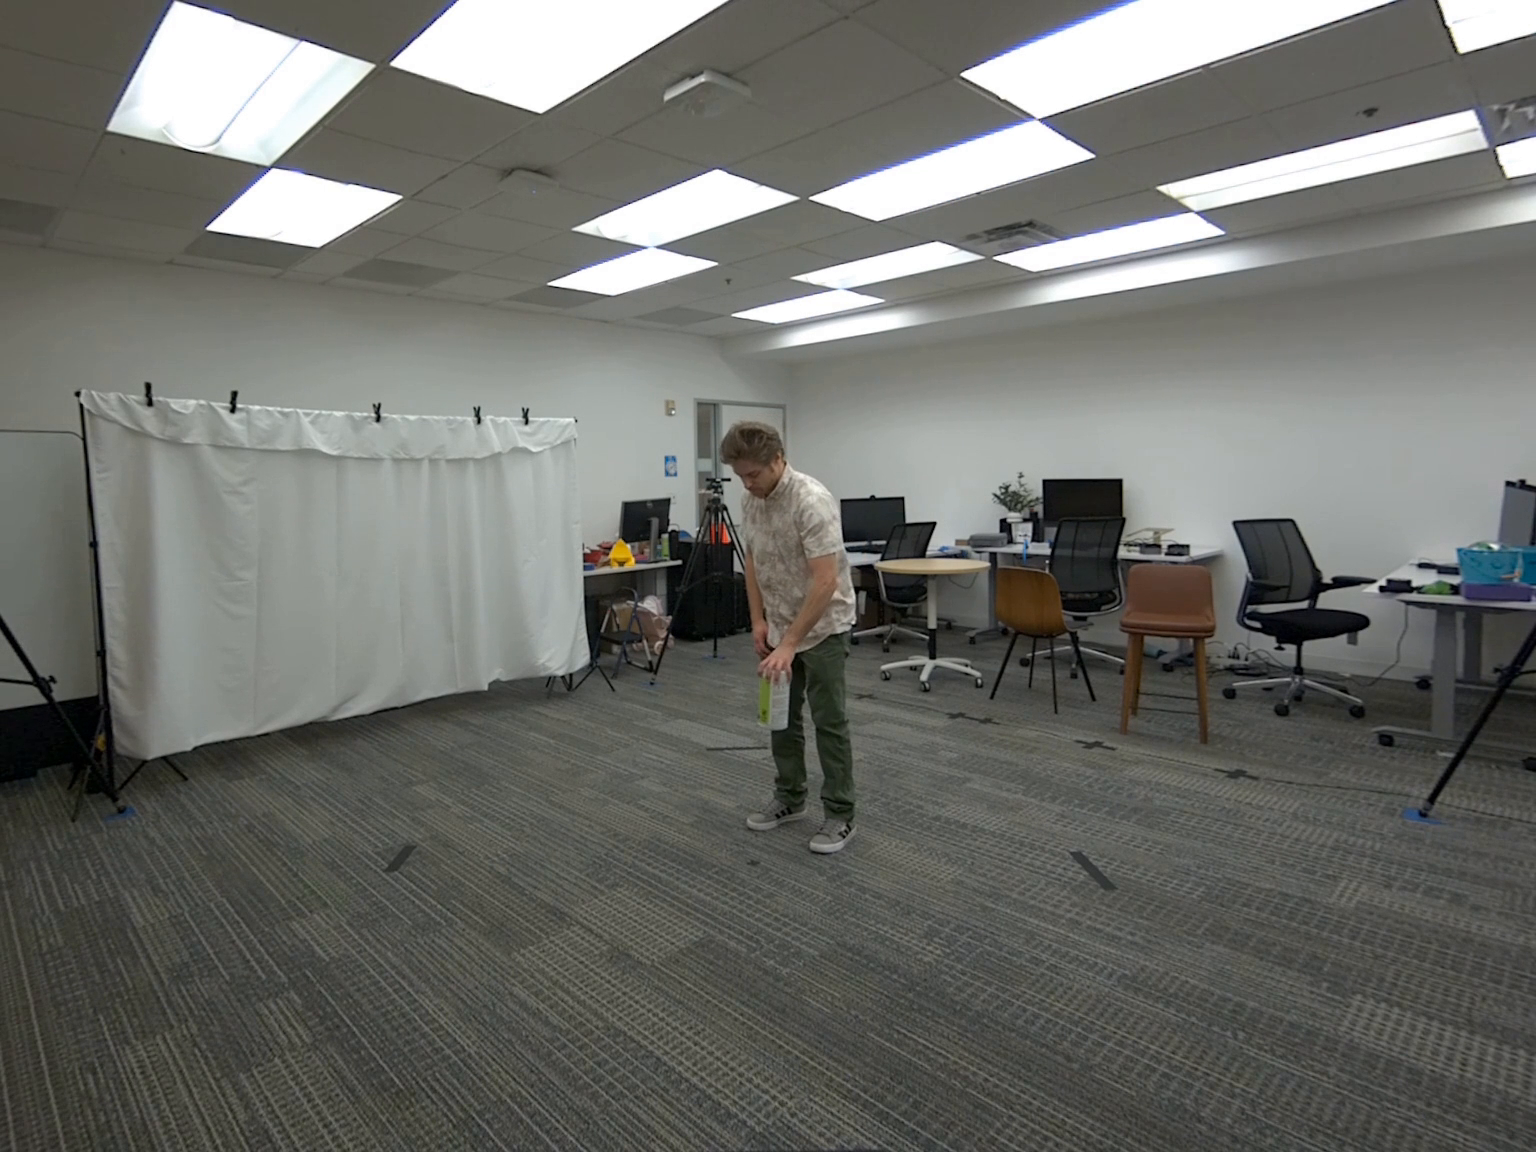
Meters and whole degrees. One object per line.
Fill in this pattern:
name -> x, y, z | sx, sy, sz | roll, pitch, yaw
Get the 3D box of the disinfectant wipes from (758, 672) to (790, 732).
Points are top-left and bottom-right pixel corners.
disinfectant wipes -> 0.024, 0.437, 3.066 | 0.118, 0.216, 0.118 | 0, 7, -2
